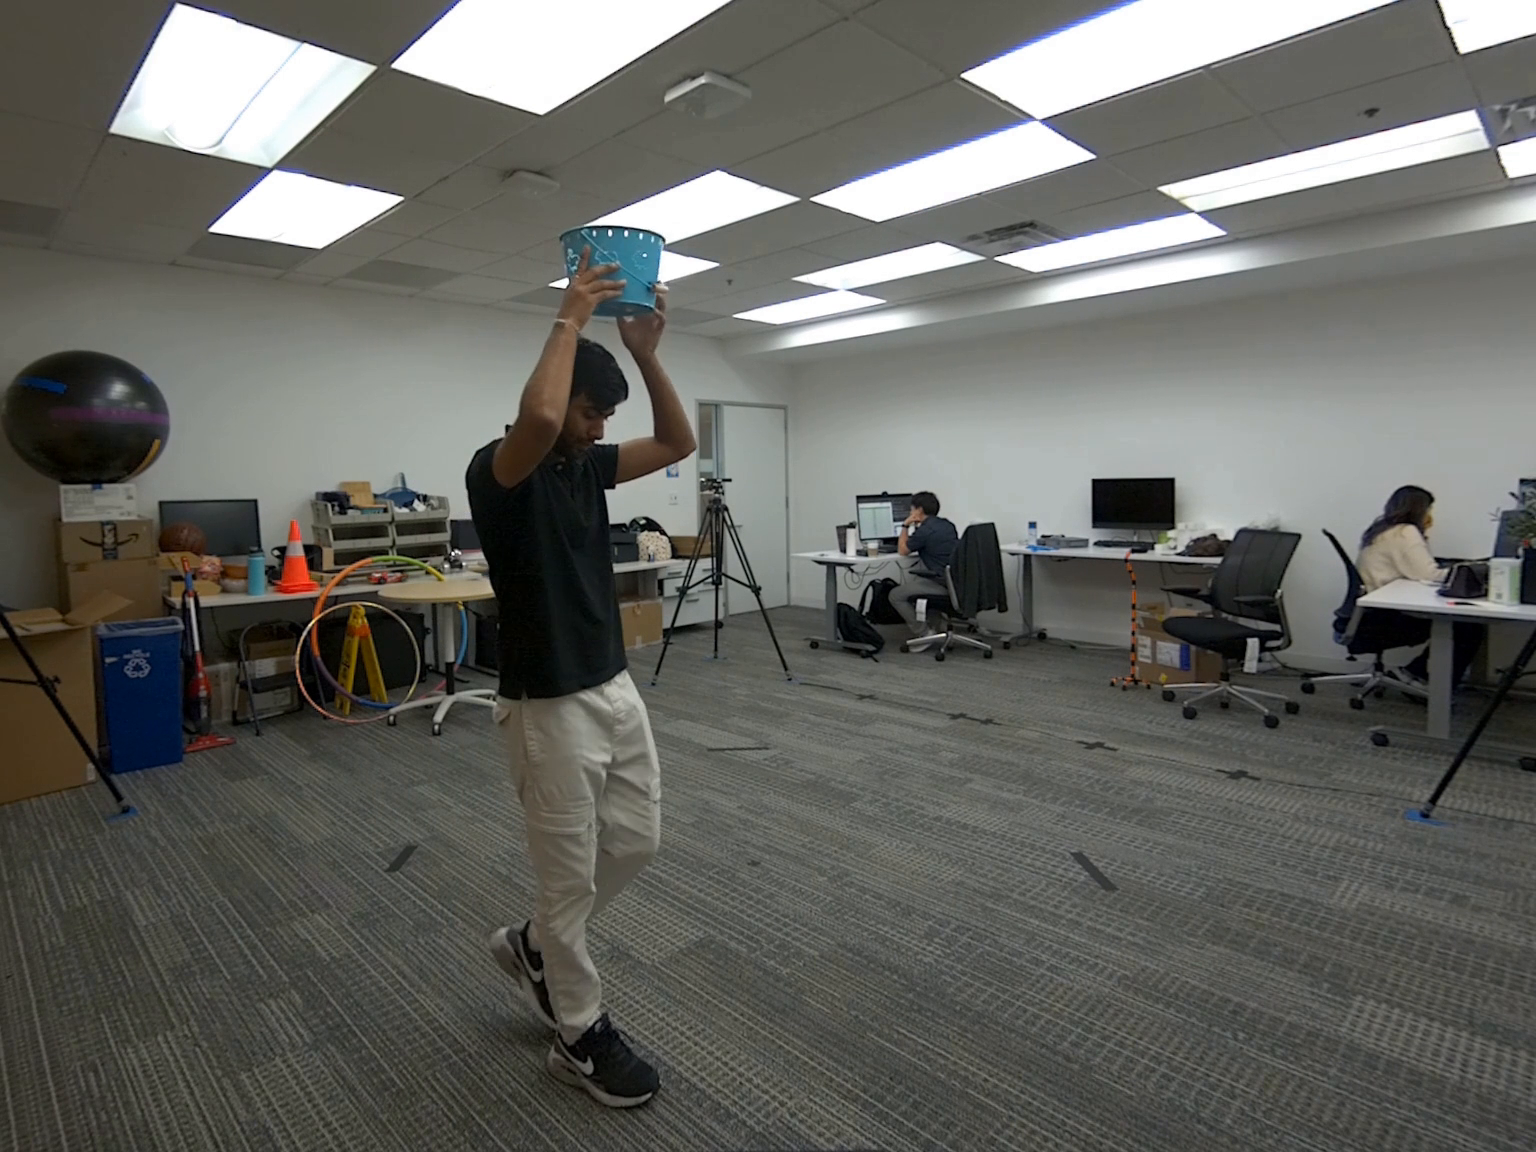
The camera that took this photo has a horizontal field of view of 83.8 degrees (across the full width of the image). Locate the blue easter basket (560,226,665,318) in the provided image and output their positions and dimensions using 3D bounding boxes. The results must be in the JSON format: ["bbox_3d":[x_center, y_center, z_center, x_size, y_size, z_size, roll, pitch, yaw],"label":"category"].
[{"bbox_3d":[-0.343,-0.664,1.864,0.243,0.155,0.245,-4,6,-1],"label":"blue easter basket"}]
